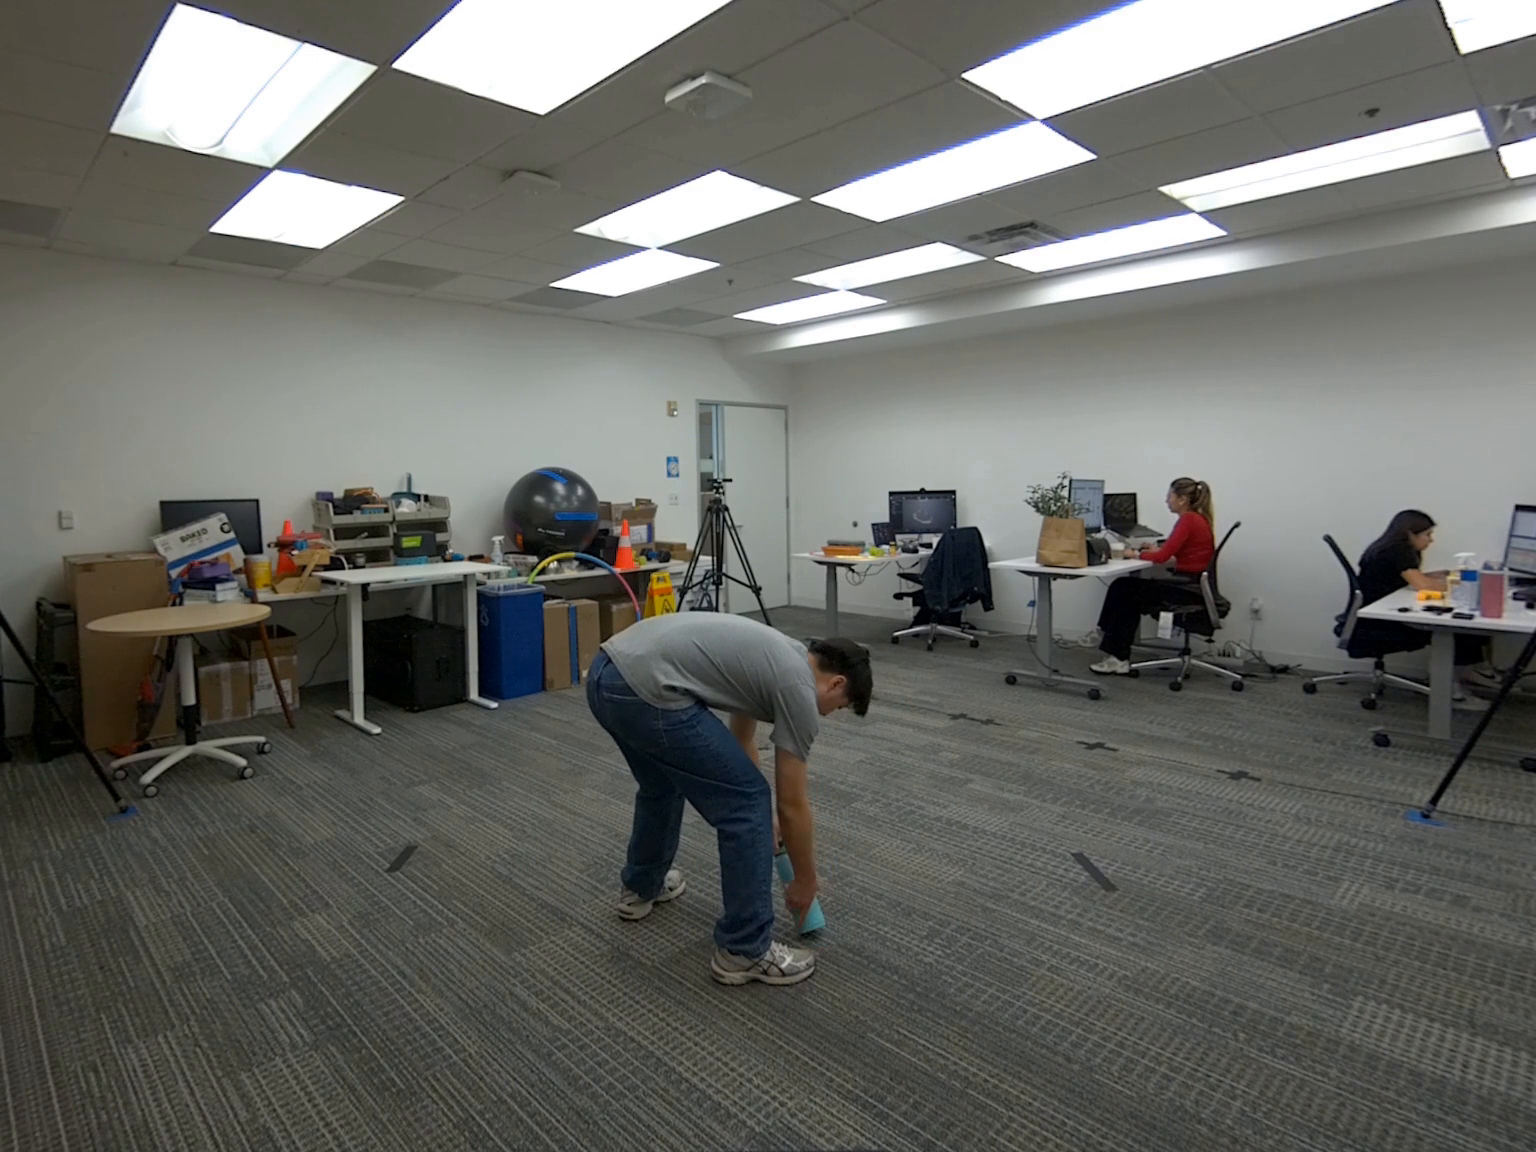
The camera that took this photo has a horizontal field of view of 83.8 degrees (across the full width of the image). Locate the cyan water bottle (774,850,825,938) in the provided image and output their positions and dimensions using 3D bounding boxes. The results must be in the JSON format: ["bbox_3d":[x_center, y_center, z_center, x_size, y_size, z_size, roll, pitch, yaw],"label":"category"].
[{"bbox_3d":[0.086,0.959,2.658,0.092,0.290,0.091,-17,-19,-7],"label":"cyan water bottle"}]
